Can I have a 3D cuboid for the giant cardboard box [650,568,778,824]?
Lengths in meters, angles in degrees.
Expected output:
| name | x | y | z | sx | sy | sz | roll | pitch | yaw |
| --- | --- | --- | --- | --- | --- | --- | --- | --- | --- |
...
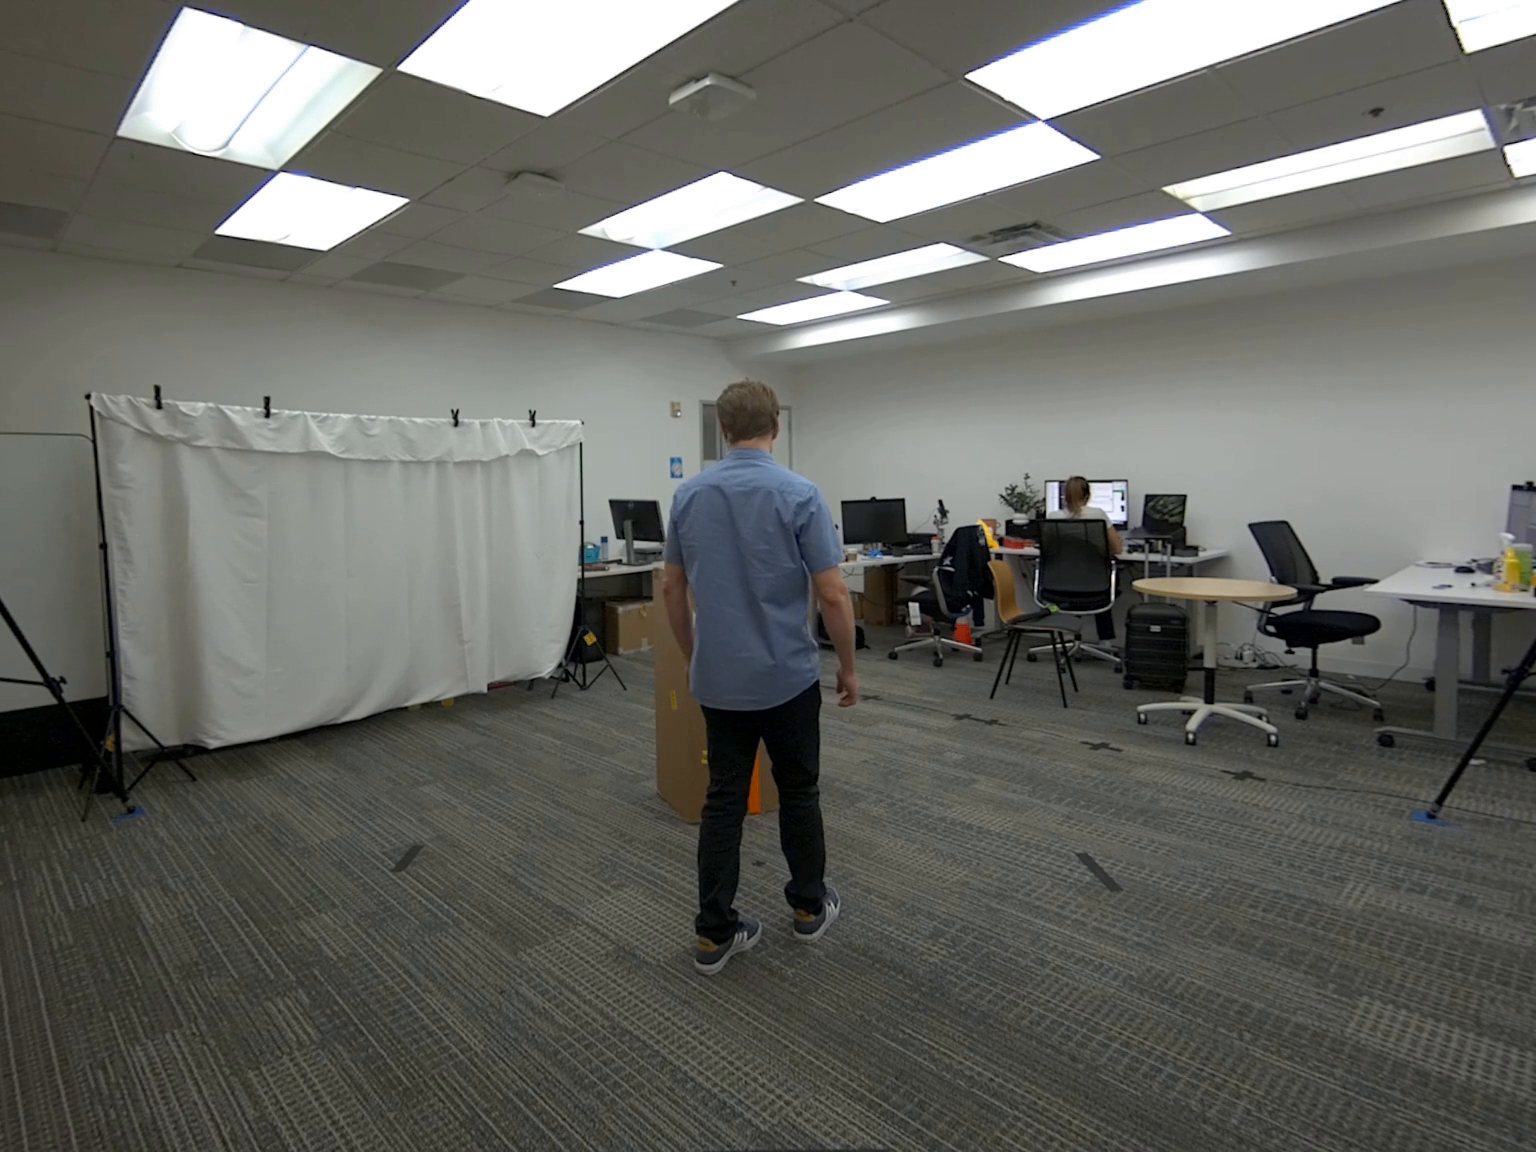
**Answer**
| name | x | y | z | sx | sy | sz | roll | pitch | yaw |
| --- | --- | --- | --- | --- | --- | --- | --- | --- | --- |
| giant cardboard box | -0.159 | 0.468 | 3.746 | 0.565 | 1.023 | 0.437 | -3 | 4 | -26 |
